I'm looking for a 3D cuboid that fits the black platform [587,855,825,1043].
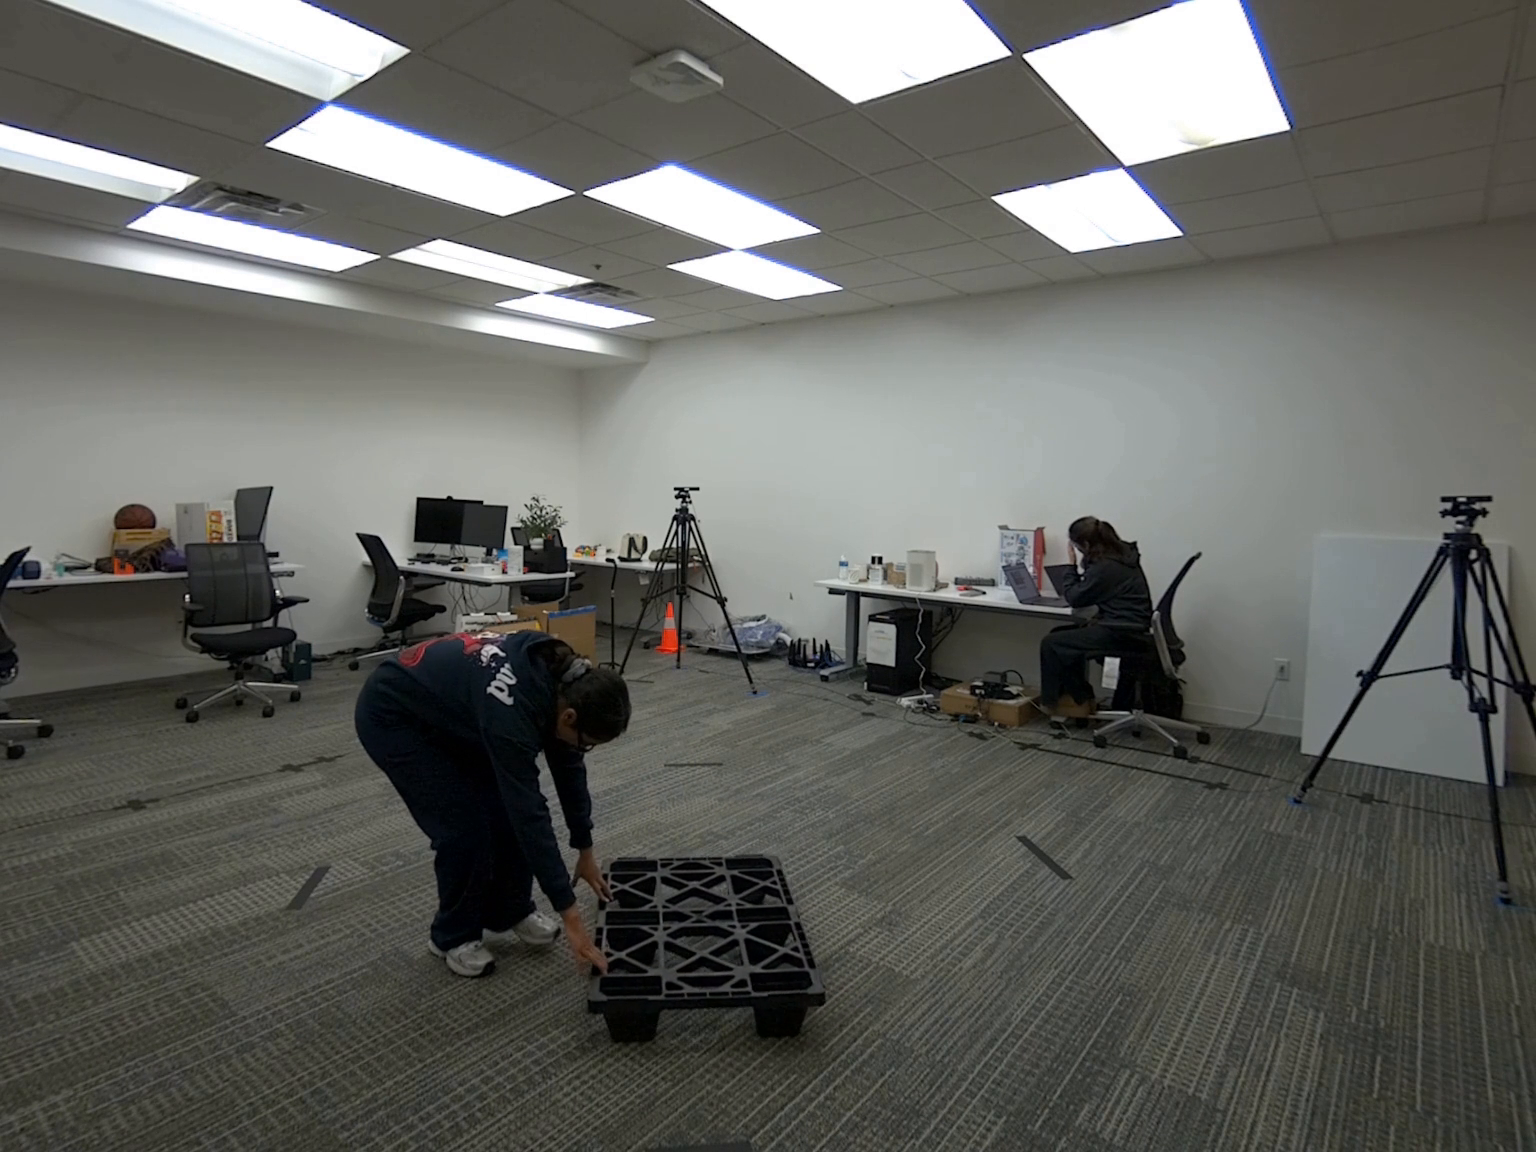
[{"bbox_3d":[-0.219,1.058,2.499,0.601,0.143,0.814,-1,6,-7],"label":"black platform"}]
